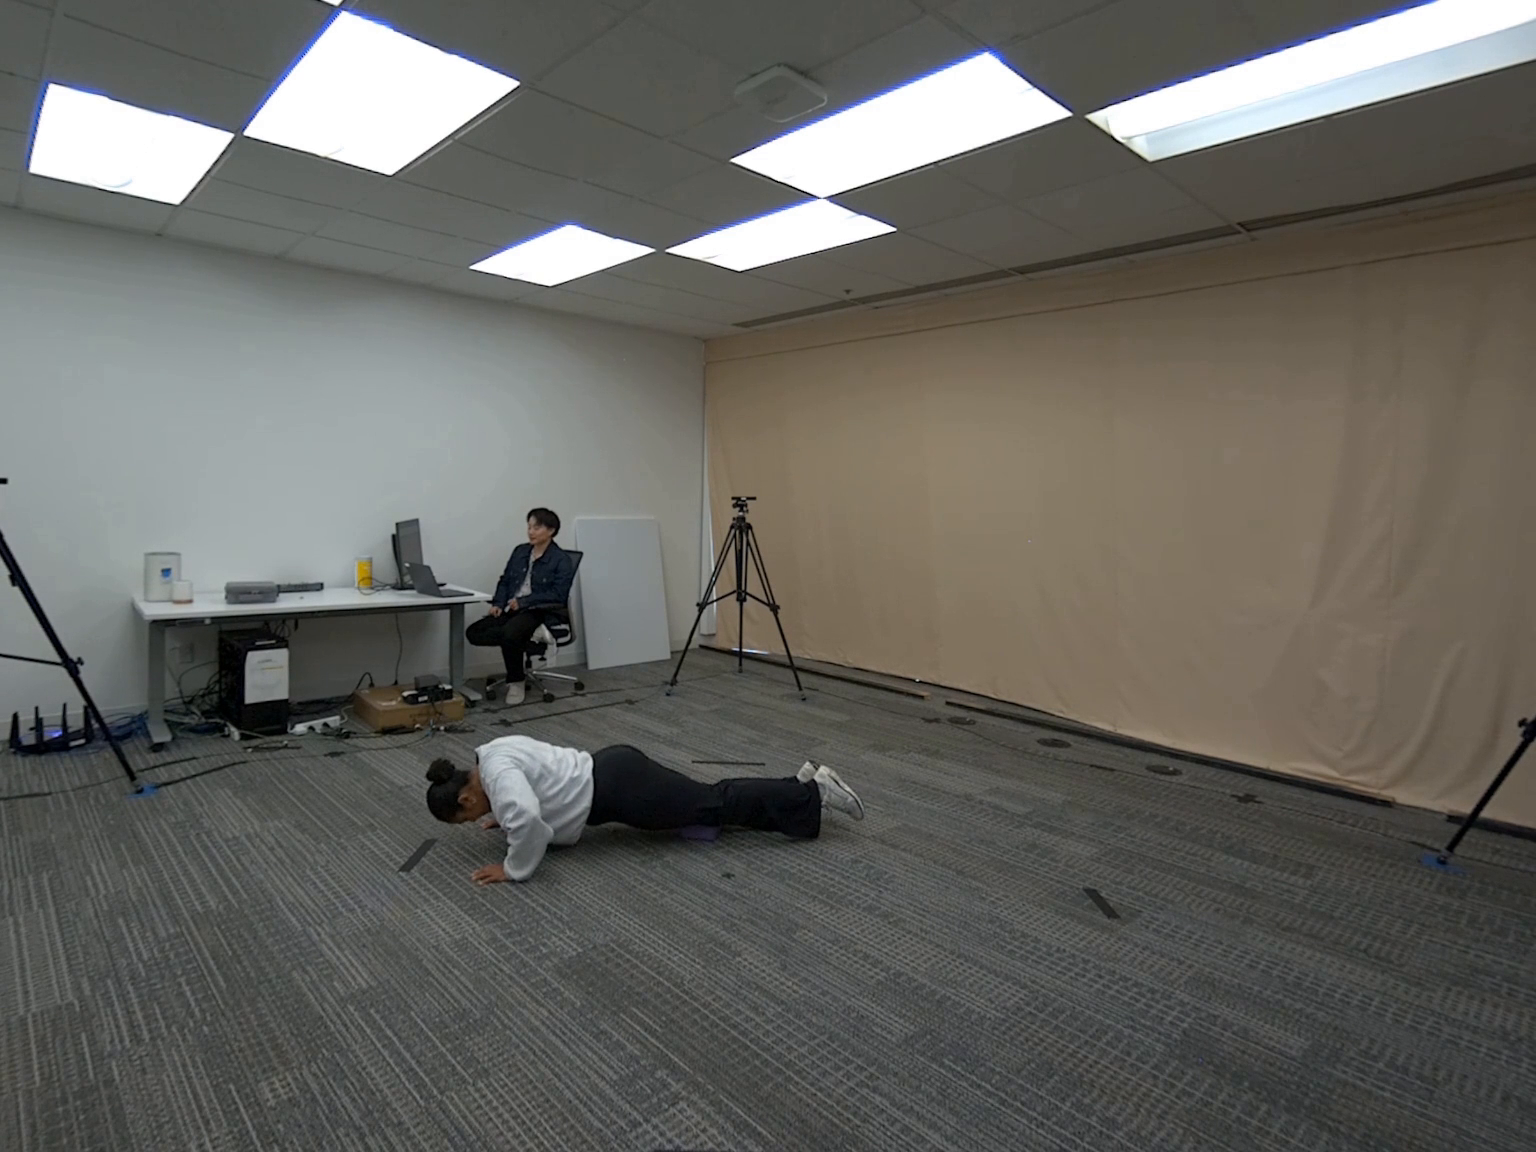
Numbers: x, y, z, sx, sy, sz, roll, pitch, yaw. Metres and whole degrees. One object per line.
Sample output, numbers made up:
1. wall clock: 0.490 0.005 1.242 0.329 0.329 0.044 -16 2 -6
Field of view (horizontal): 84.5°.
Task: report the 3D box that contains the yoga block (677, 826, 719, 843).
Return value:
1. yoga block: -0.270 1.027 3.523 0.150 0.076 0.228 3 8 10
